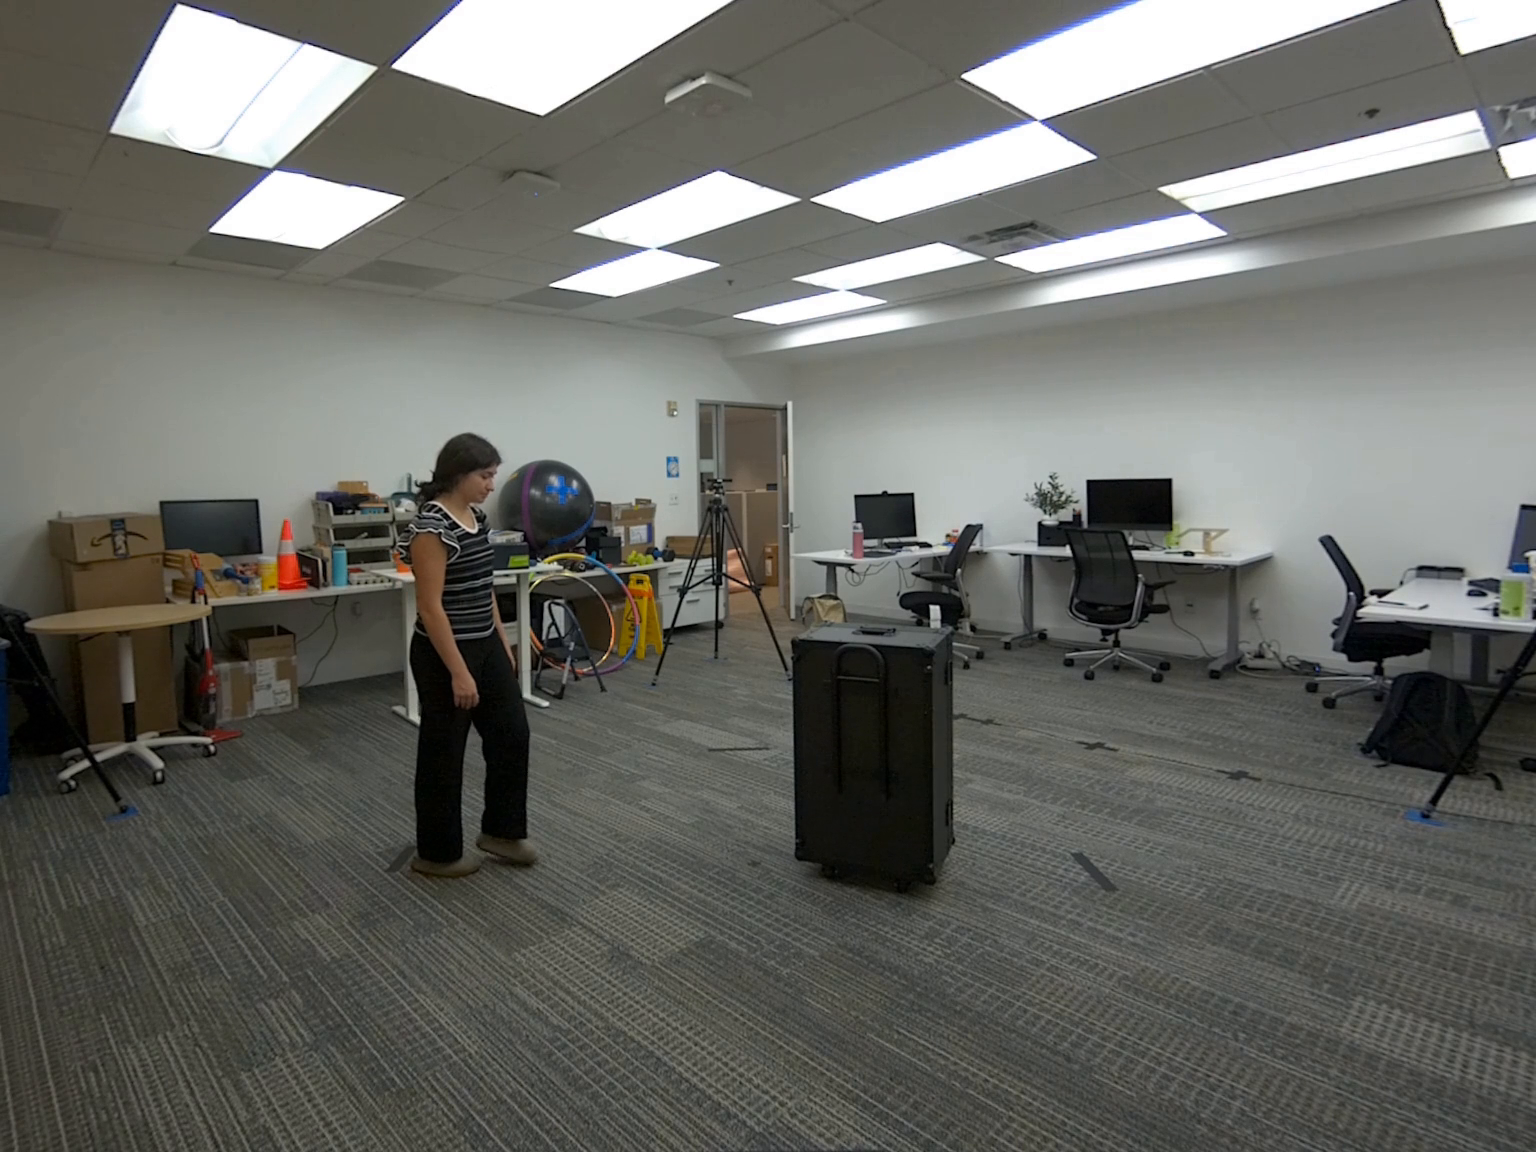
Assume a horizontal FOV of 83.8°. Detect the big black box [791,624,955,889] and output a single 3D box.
[{"bbox_3d":[0.377,0.620,2.996,0.533,0.857,0.389,1,6,24],"label":"big black box"}]
